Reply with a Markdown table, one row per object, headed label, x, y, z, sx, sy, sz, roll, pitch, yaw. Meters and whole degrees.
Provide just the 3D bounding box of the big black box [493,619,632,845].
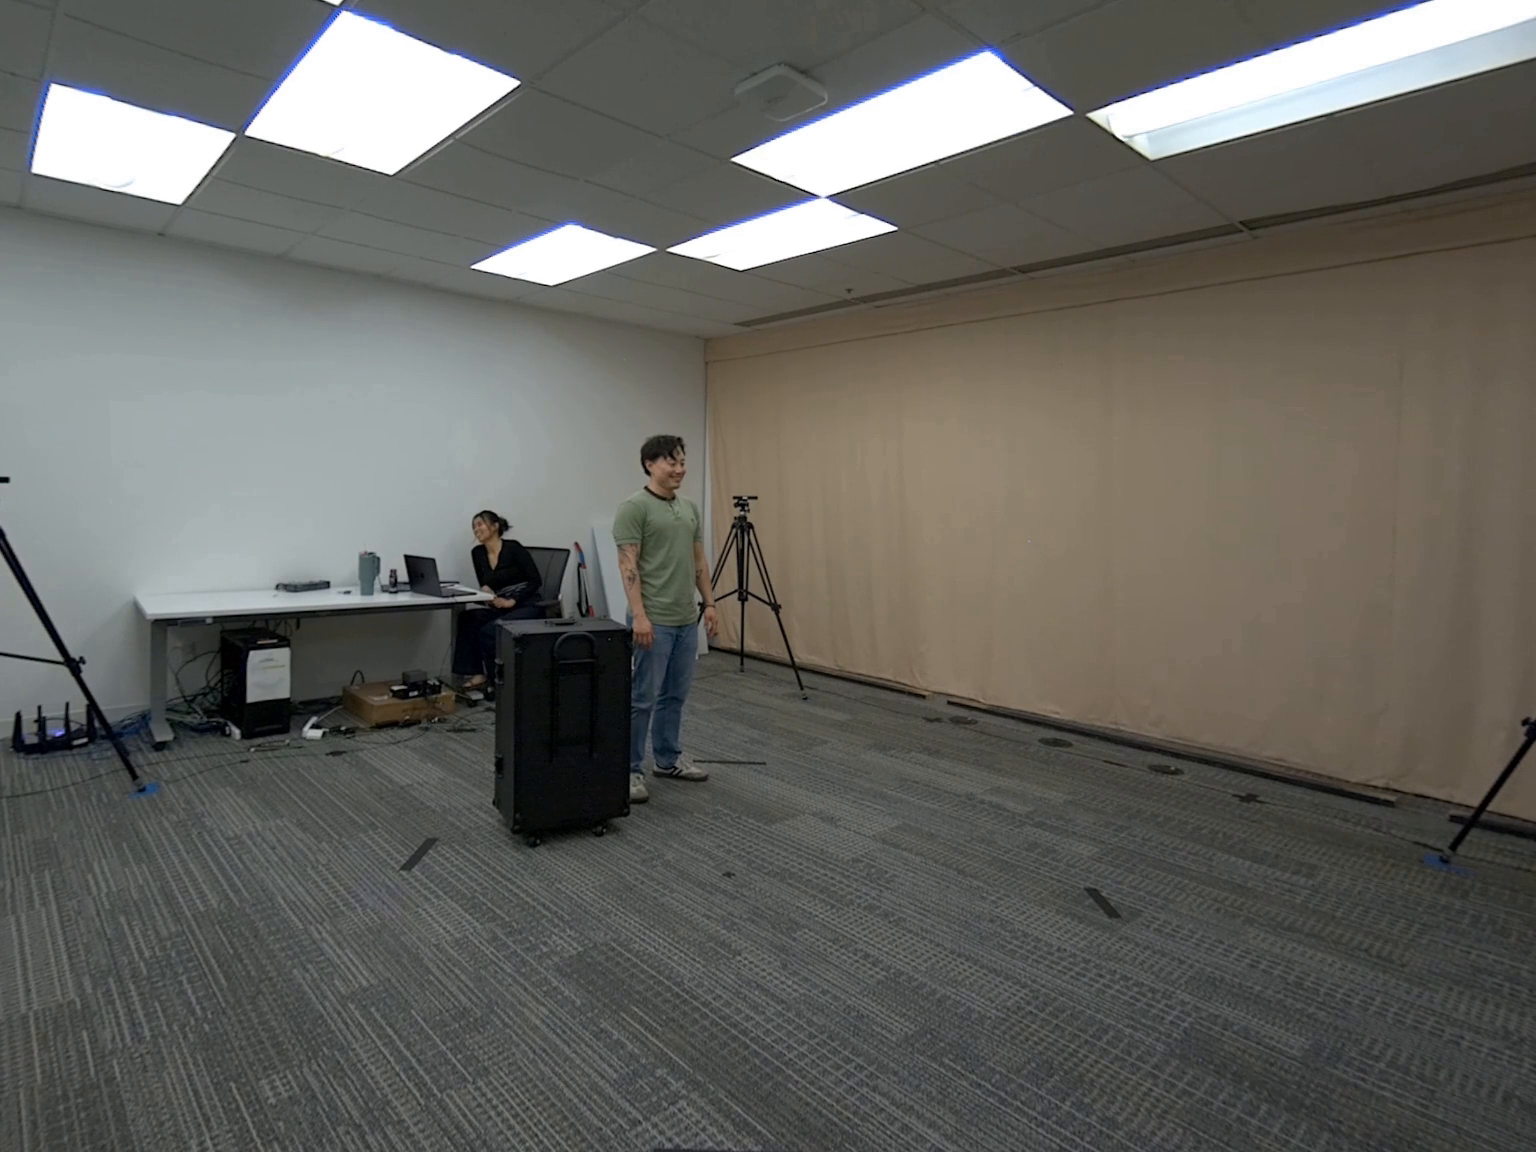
| label | x | y | z | sx | sy | sz | roll | pitch | yaw |
| --- | --- | --- | --- | --- | --- | --- | --- | --- | --- |
| big black box | -0.858 | 0.624 | 3.485 | 0.511 | 0.859 | 0.405 | 0 | 5 | -28 |
